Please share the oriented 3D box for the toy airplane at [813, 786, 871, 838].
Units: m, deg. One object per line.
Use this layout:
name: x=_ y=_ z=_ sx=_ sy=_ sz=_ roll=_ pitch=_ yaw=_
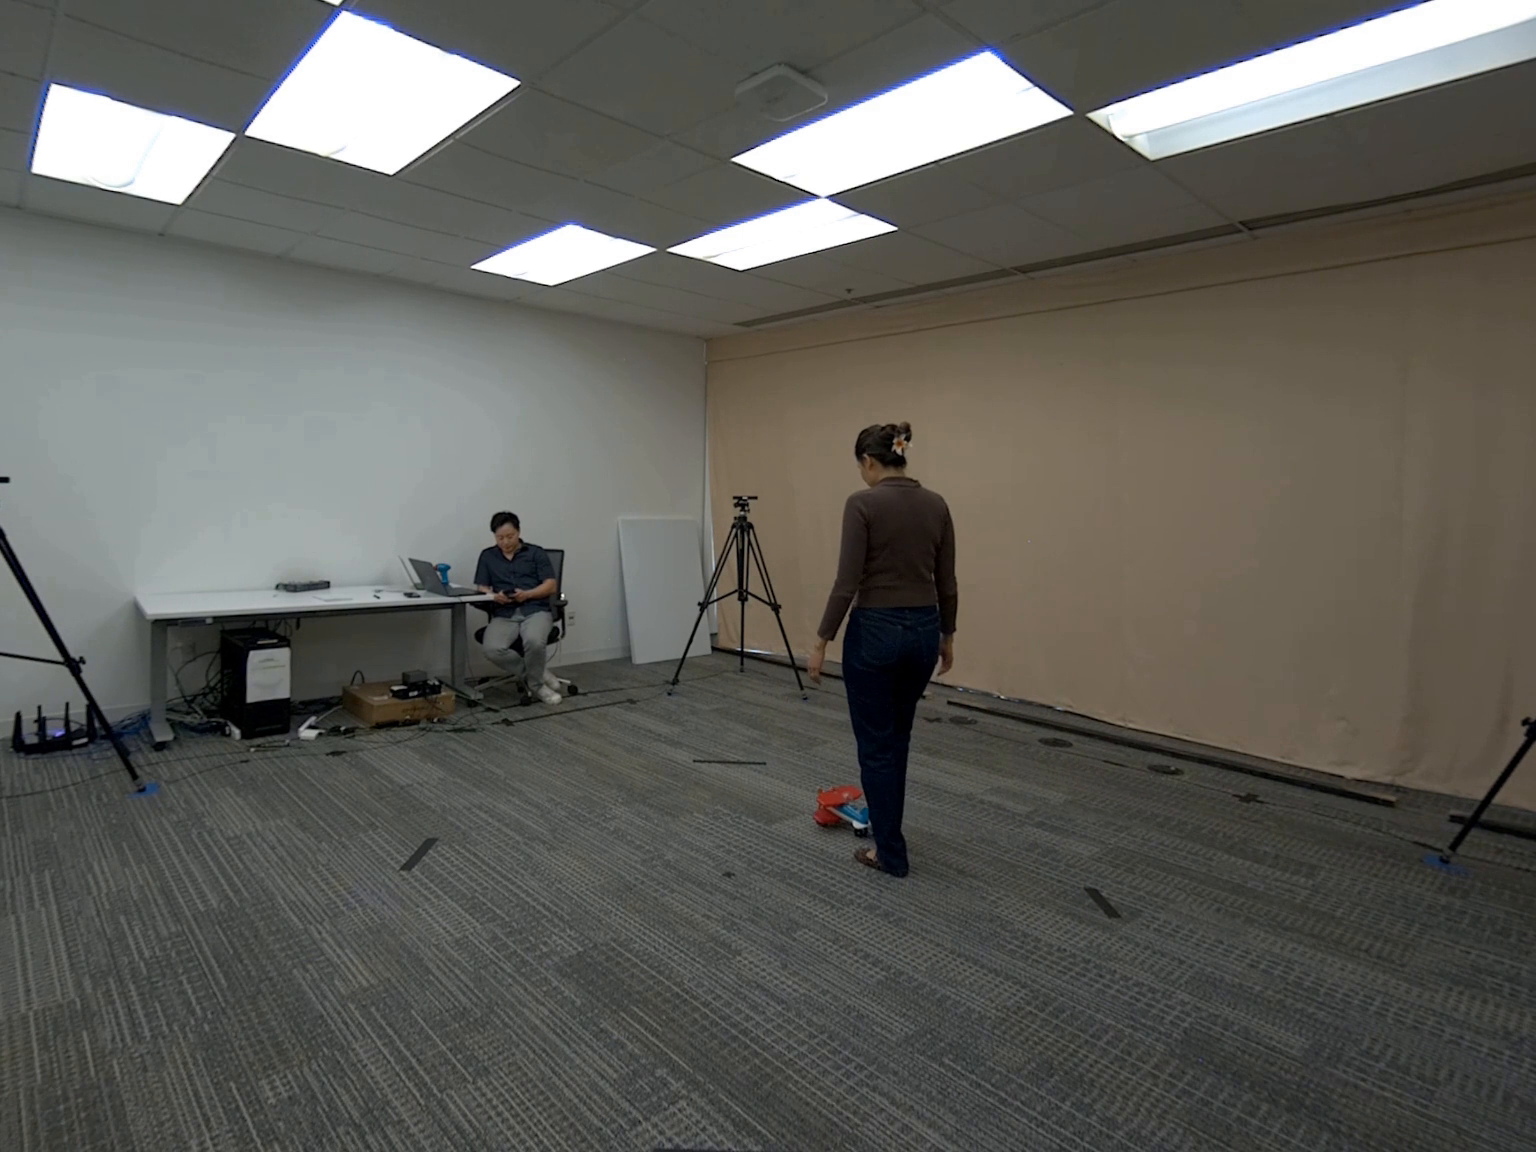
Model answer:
toy airplane: x=0.318 y=0.998 z=3.586 sx=0.263 sy=0.156 sz=0.248 roll=2 pitch=3 yaw=18
